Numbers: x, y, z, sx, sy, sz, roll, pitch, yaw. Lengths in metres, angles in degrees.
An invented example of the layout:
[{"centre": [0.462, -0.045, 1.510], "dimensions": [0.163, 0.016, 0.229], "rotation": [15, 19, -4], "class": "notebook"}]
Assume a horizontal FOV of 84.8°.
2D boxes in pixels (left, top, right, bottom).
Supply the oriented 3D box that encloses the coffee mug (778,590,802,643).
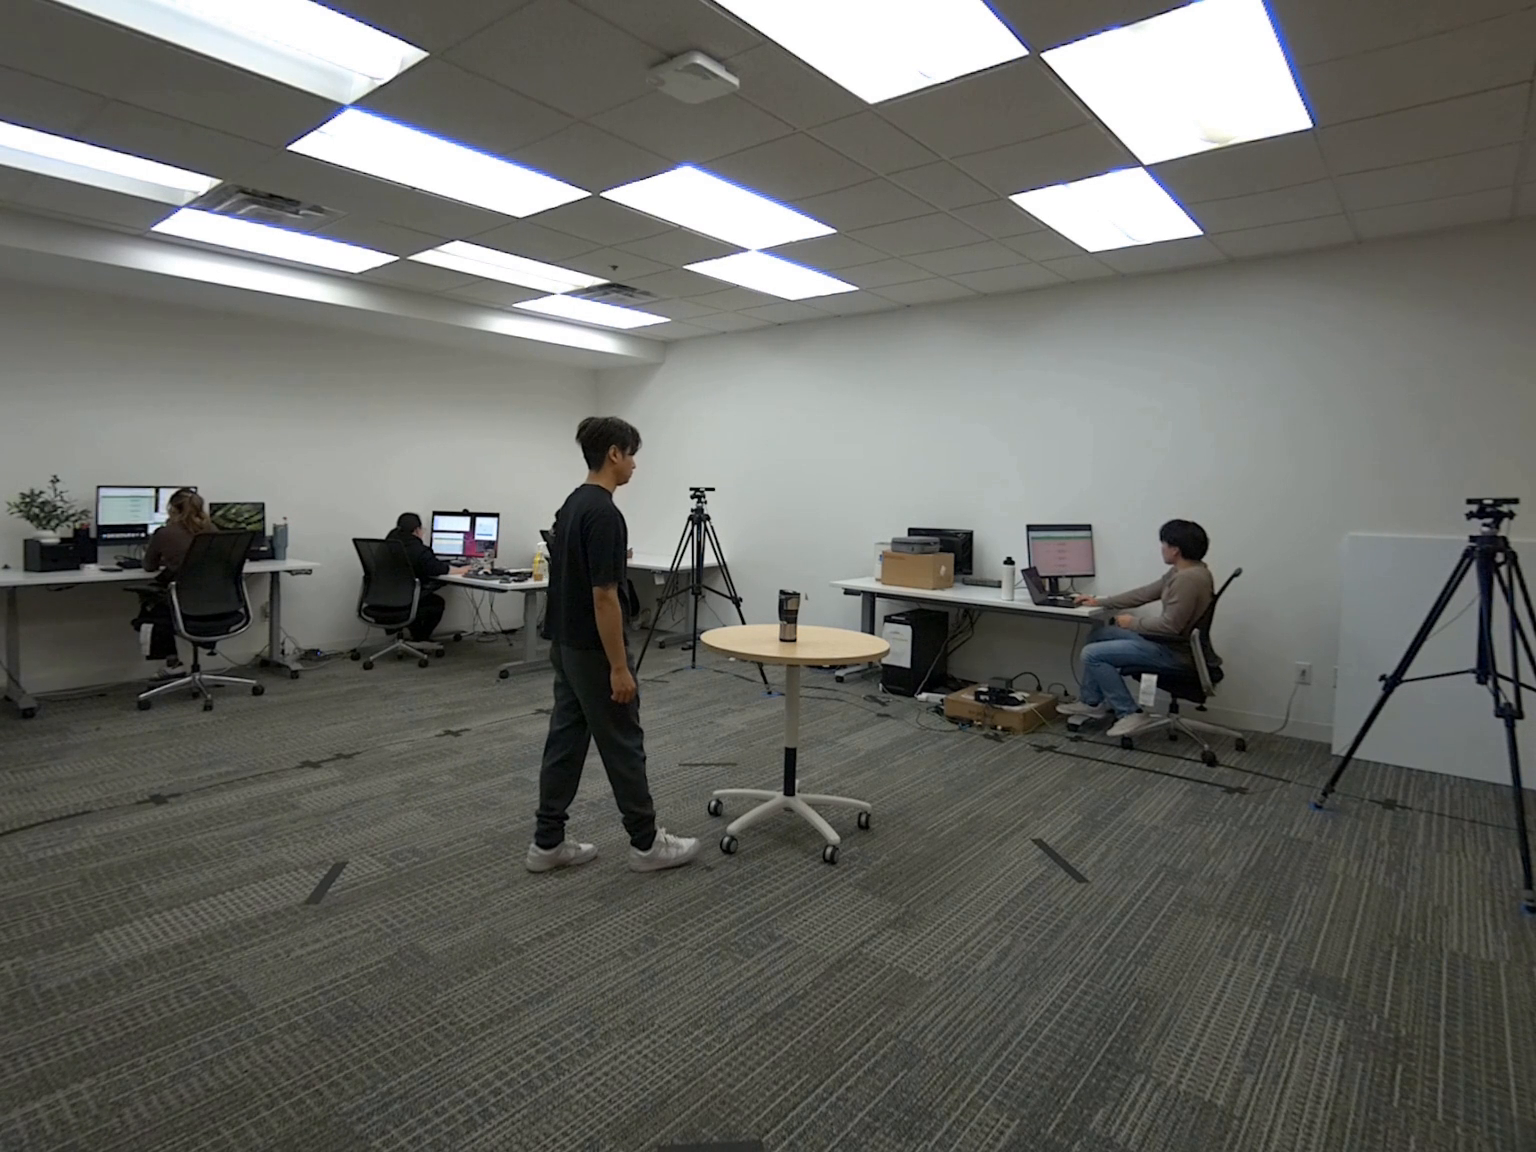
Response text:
[{"centre": [0.057, 0.161, 3.409], "dimensions": [0.118, 0.202, 0.091], "rotation": [2, 6, -40], "class": "coffee mug"}]
